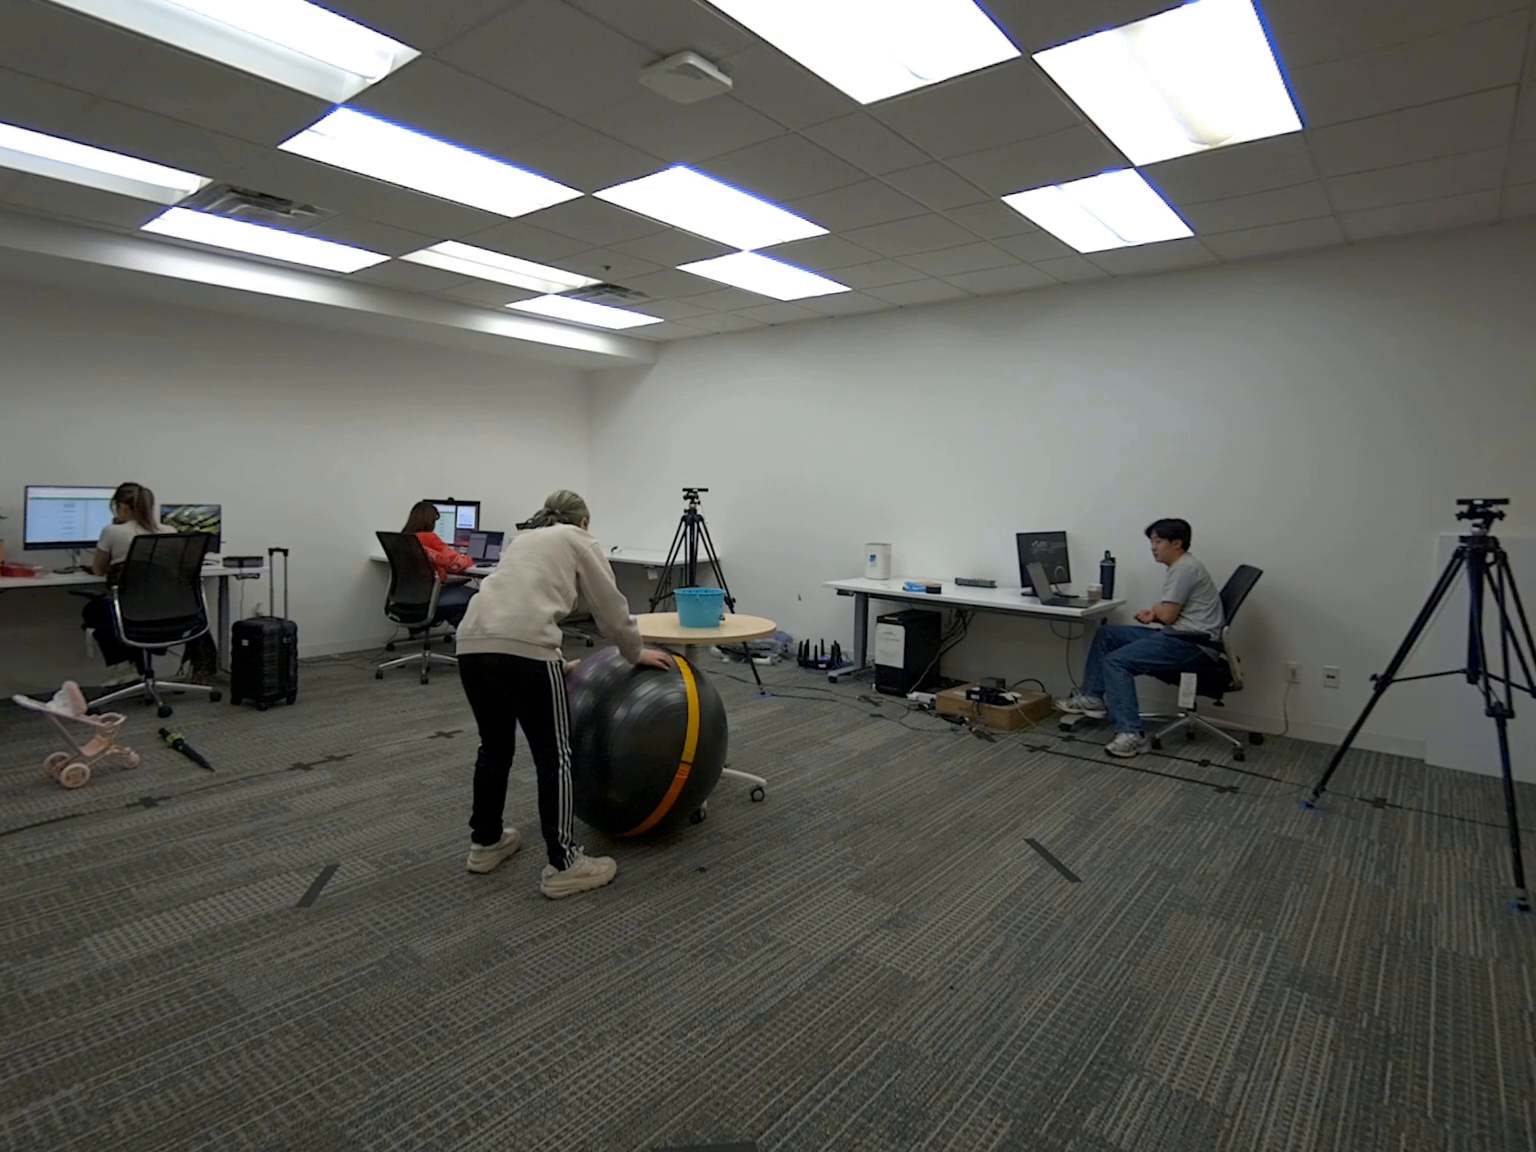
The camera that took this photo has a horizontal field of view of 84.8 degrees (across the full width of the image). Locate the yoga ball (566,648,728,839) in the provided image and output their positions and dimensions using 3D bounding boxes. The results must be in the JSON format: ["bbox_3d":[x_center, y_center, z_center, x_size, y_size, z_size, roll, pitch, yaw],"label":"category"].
[{"bbox_3d":[-0.548,0.653,3.457,0.757,0.756,0.761,1,4,-2],"label":"yoga ball"}]
